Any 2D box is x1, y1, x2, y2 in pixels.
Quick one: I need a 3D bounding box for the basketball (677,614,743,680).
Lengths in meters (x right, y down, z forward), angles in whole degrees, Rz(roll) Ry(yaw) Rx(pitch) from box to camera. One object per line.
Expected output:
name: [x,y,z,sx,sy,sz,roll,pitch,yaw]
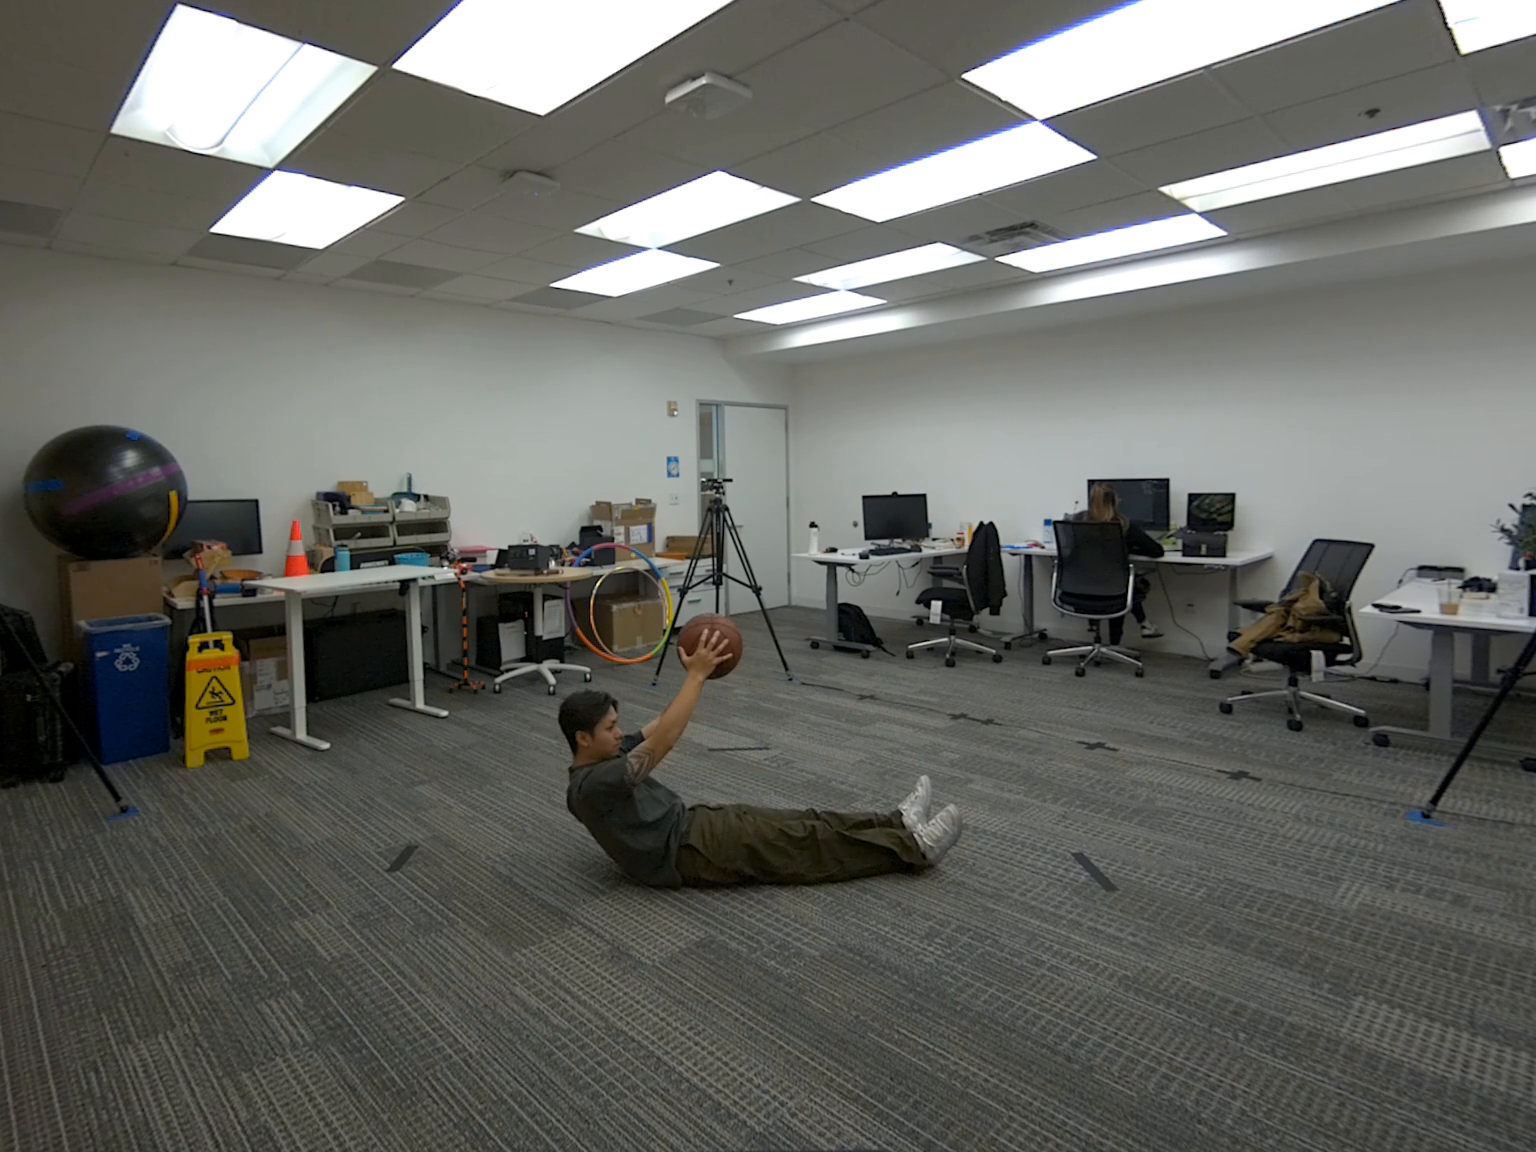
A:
basketball: [-0.212,0.256,3.073,0.236,0.235,0.237,-1,5,-2]
